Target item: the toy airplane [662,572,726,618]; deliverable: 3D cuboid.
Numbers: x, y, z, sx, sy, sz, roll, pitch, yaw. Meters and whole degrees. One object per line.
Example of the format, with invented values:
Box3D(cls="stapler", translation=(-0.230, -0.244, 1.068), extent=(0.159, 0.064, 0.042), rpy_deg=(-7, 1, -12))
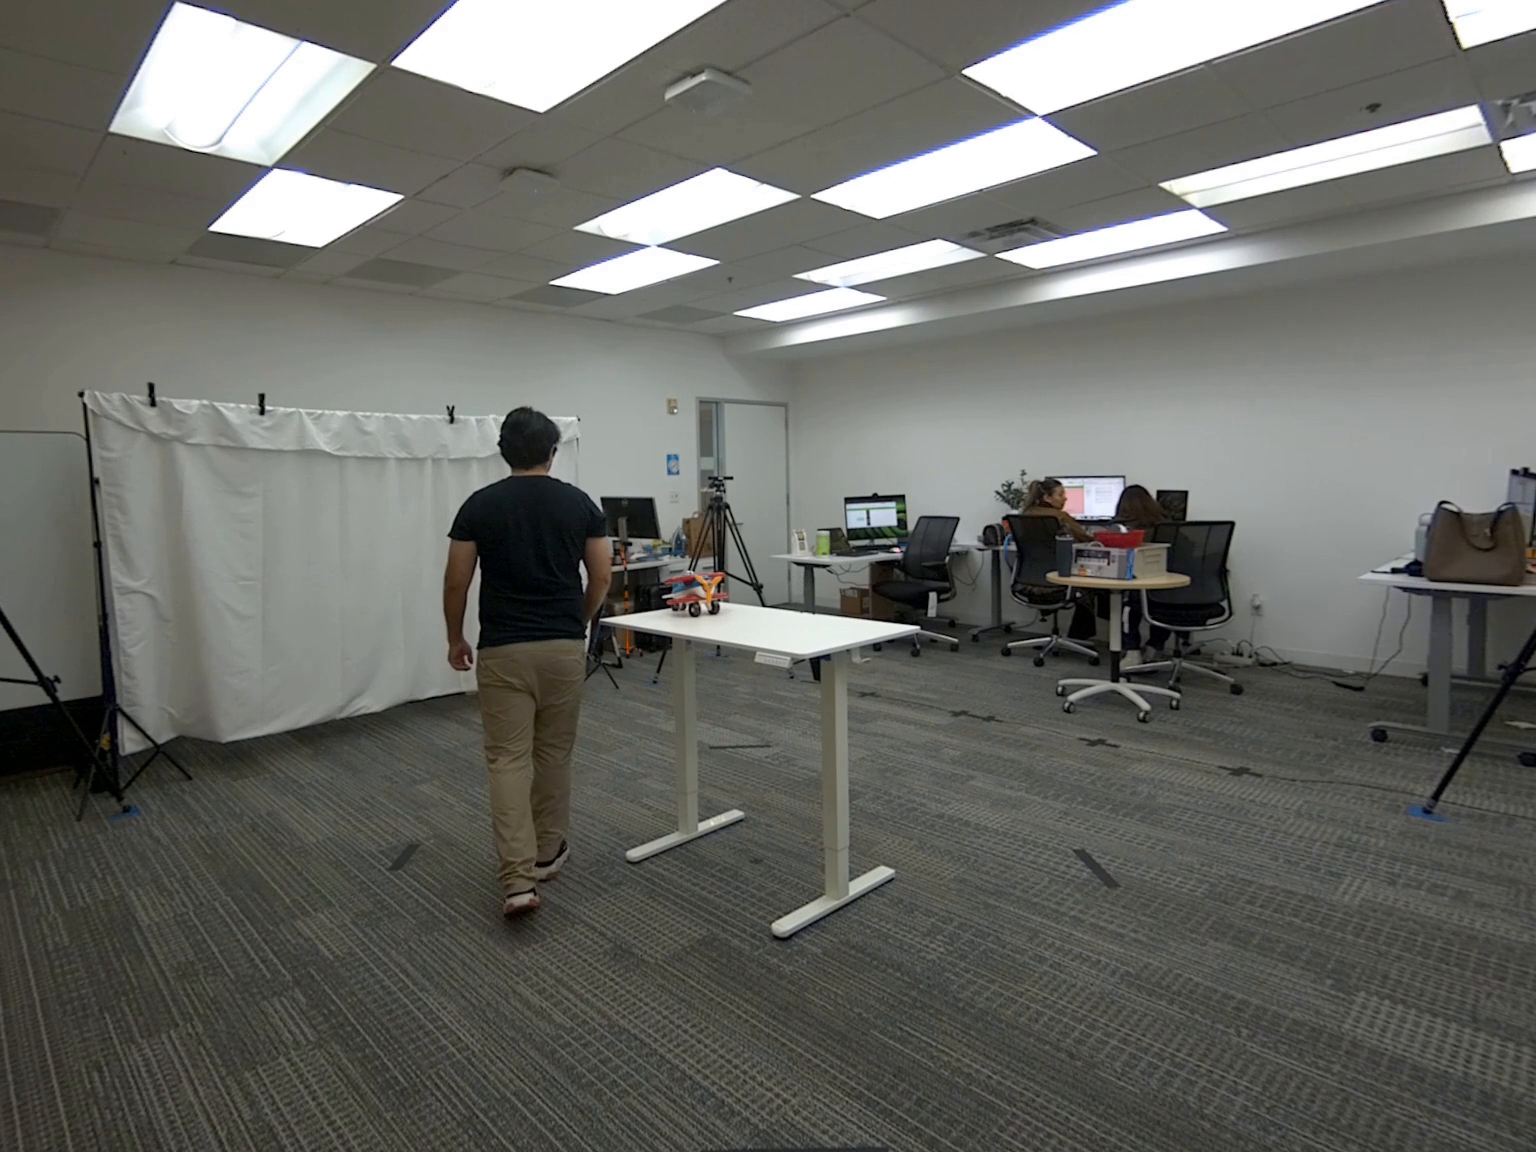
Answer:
Box3D(cls="toy airplane", translation=(-0.301, 0.067, 3.249), extent=(0.265, 0.156, 0.246), rpy_deg=(2, 5, 25))
